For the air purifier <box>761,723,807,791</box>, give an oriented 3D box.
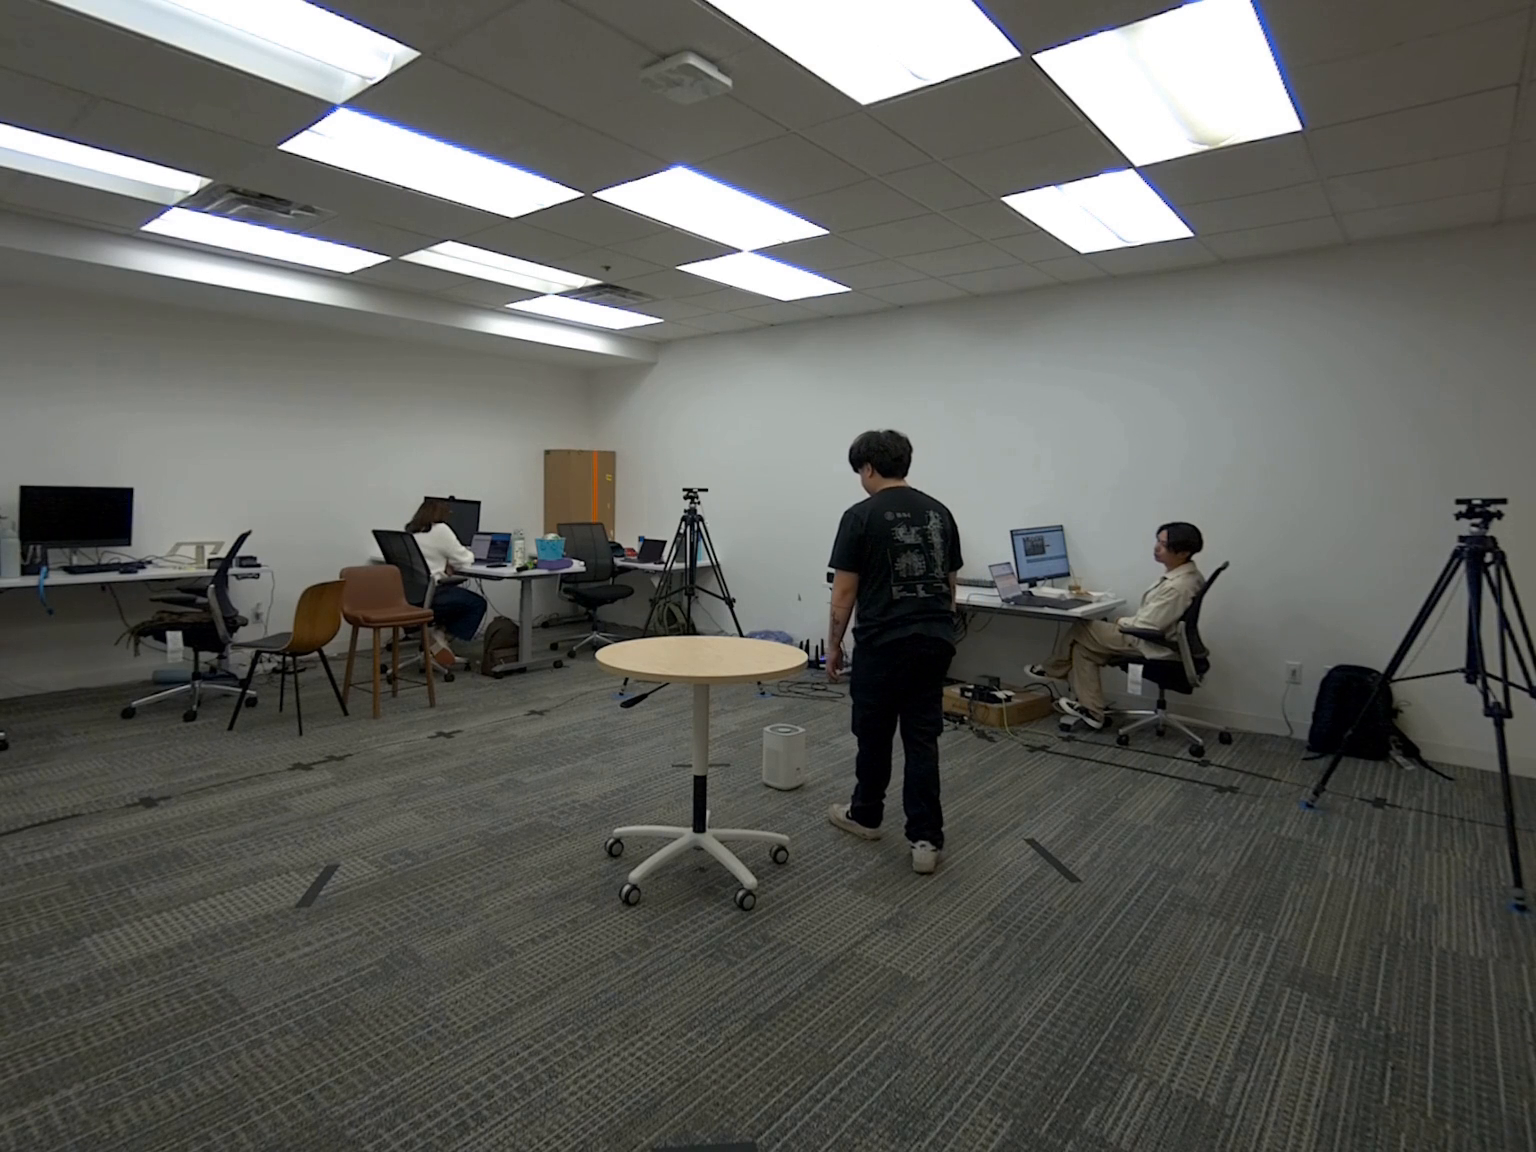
[{"bbox_3d":[0.064,0.851,4.025,0.177,0.264,0.166,4,5,40],"label":"air purifier"}]
